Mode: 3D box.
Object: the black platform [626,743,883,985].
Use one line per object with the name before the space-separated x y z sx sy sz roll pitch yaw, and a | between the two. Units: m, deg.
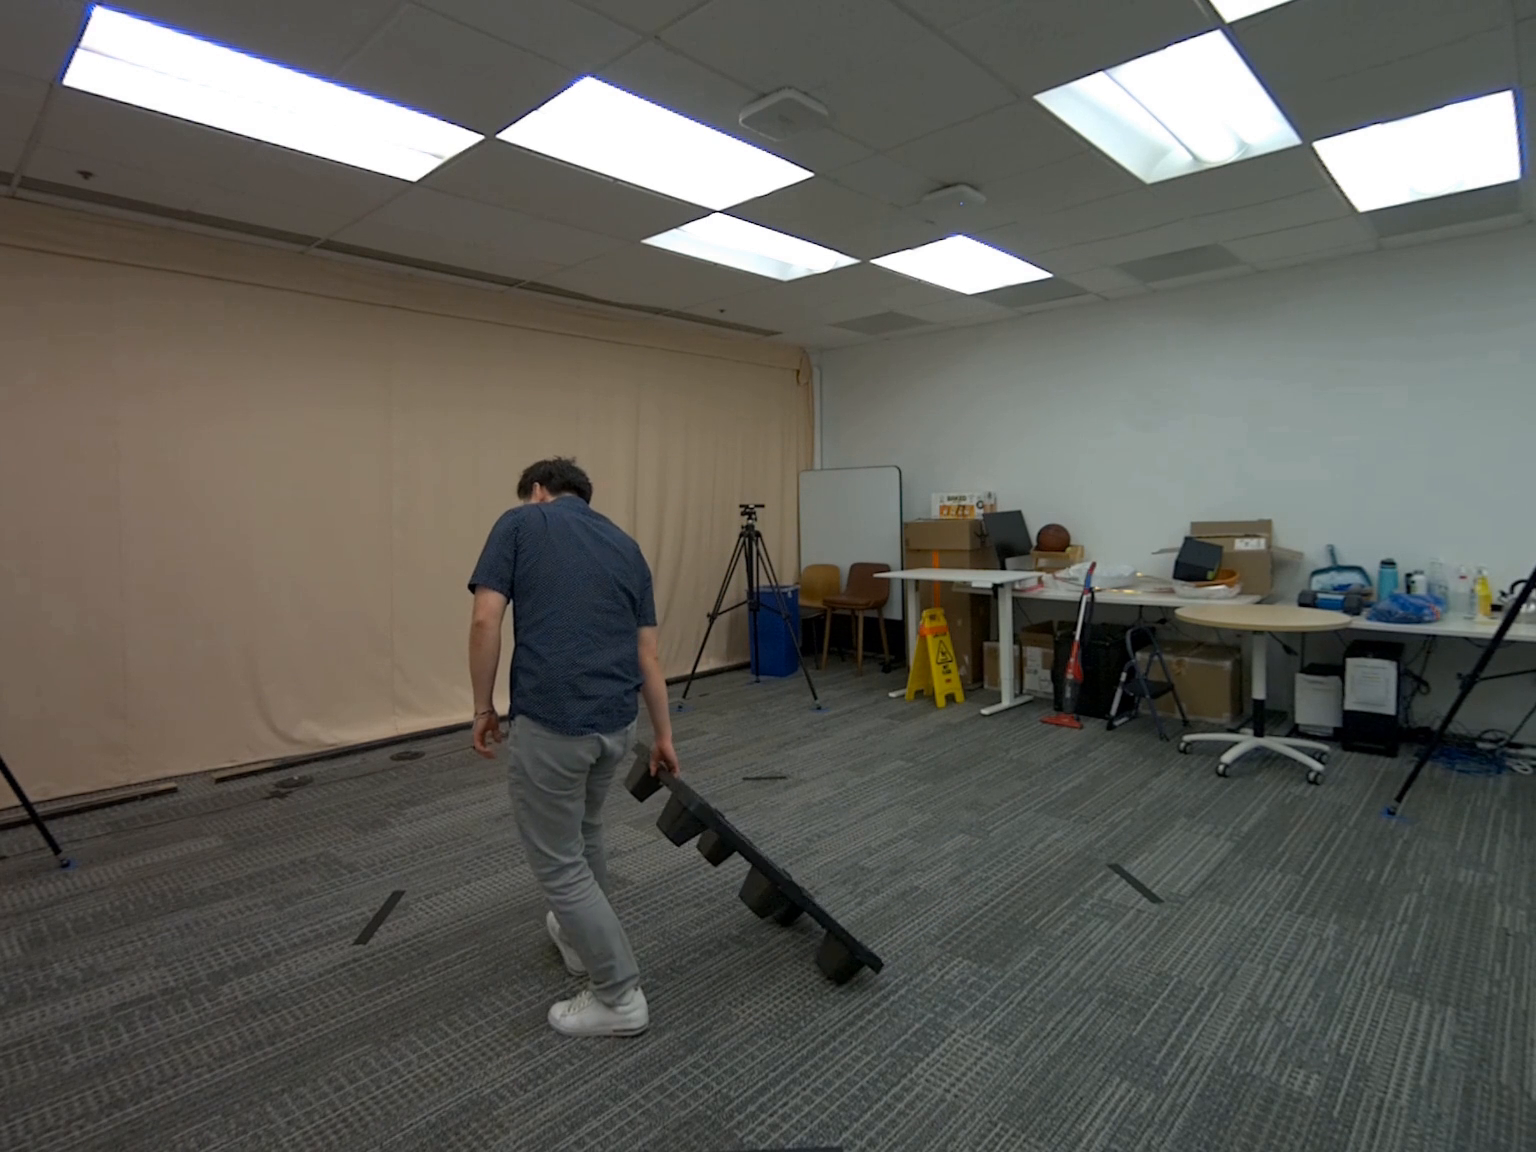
black platform | -0.076 0.873 2.547 0.143 0.790 0.619 -47 18 -13
